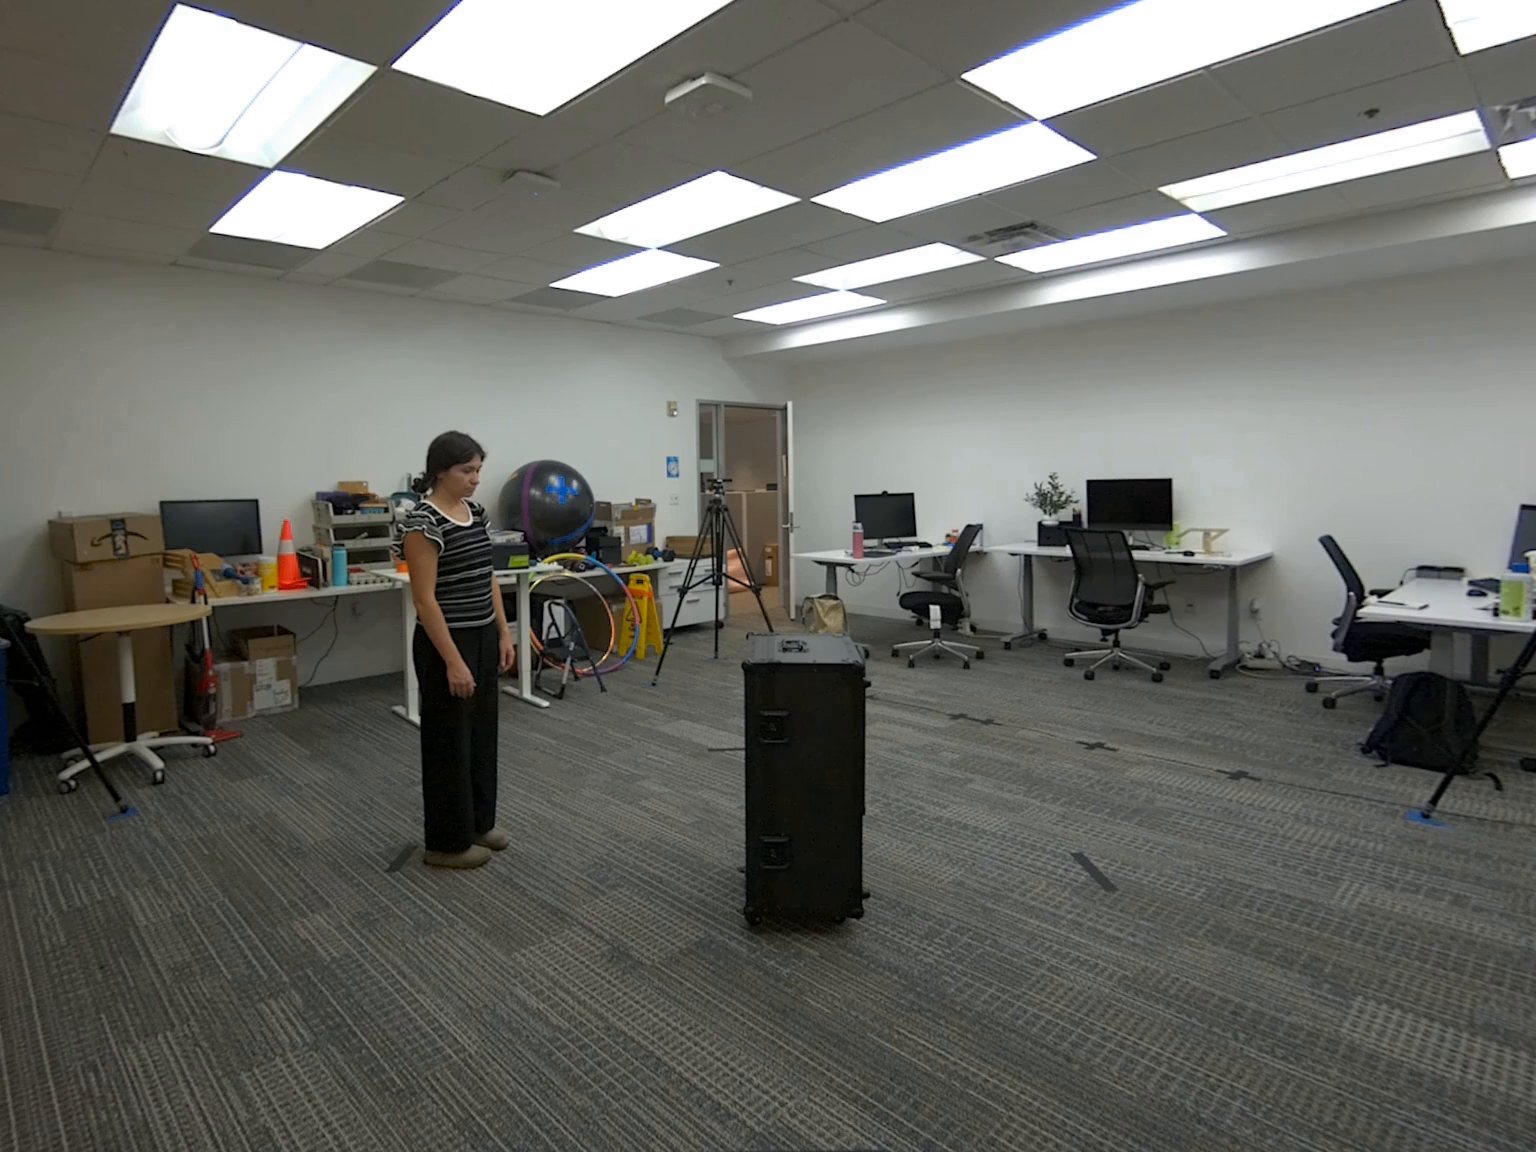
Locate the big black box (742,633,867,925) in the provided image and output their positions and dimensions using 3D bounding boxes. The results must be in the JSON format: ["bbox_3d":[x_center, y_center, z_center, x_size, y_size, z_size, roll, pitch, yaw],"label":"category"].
[{"bbox_3d":[0.122,0.654,2.795,0.397,0.859,0.521,0,4,2],"label":"big black box"}]
